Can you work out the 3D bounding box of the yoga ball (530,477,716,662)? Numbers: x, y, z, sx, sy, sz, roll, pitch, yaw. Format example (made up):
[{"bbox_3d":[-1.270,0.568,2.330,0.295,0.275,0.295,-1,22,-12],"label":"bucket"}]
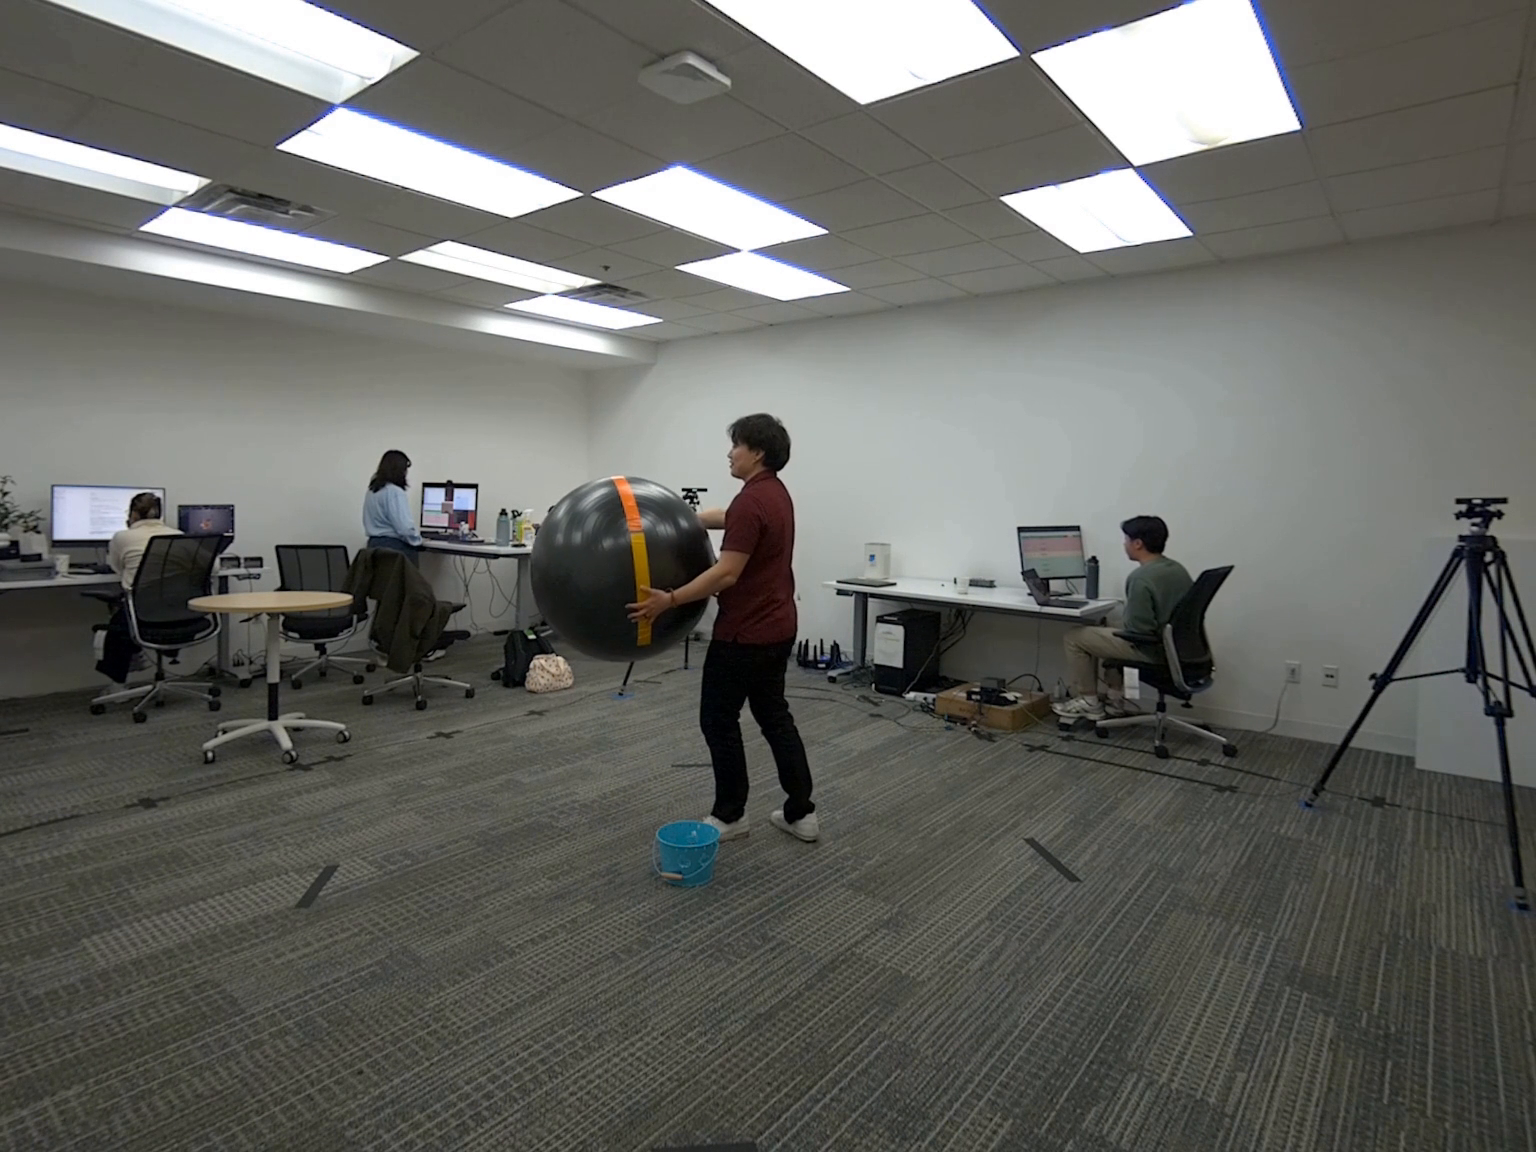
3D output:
[{"bbox_3d":[-0.607,-0.032,3.509,0.757,0.756,0.761,1,4,-2],"label":"yoga ball"}]
